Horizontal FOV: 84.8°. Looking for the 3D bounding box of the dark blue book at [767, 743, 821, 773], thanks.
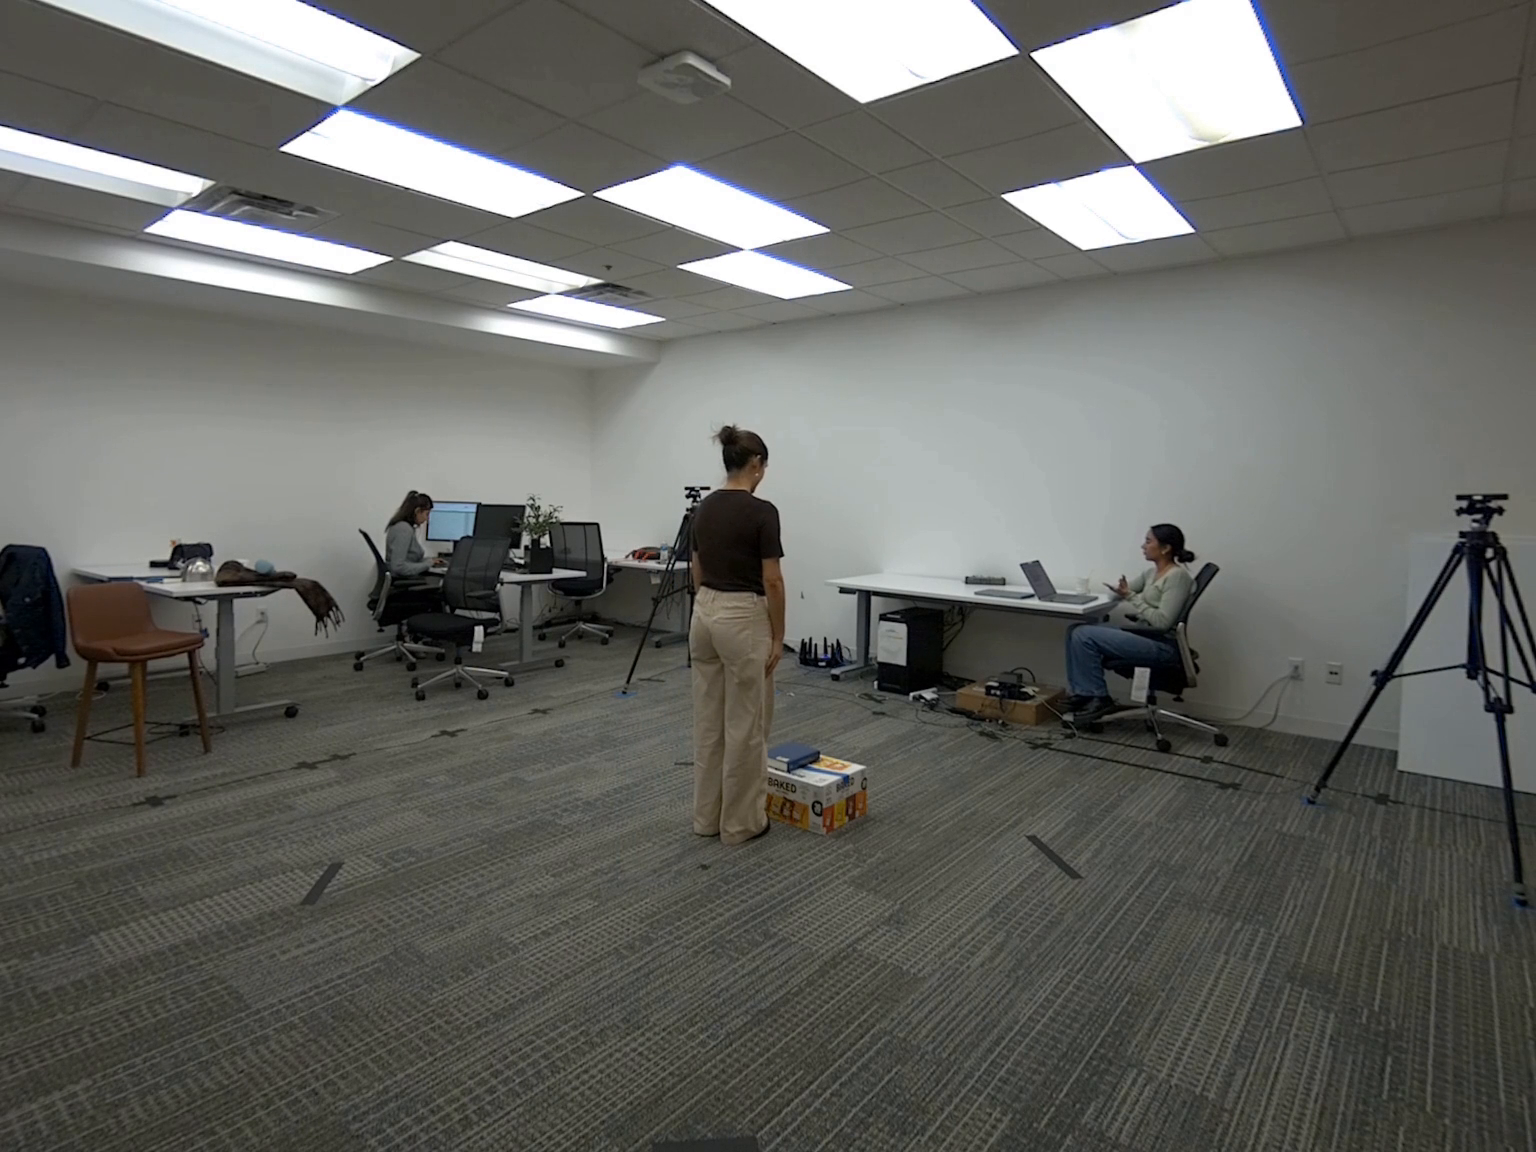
[{"bbox_3d":[0.081,0.787,3.726,0.169,0.045,0.238,9,10,39],"label":"dark blue book"}]
